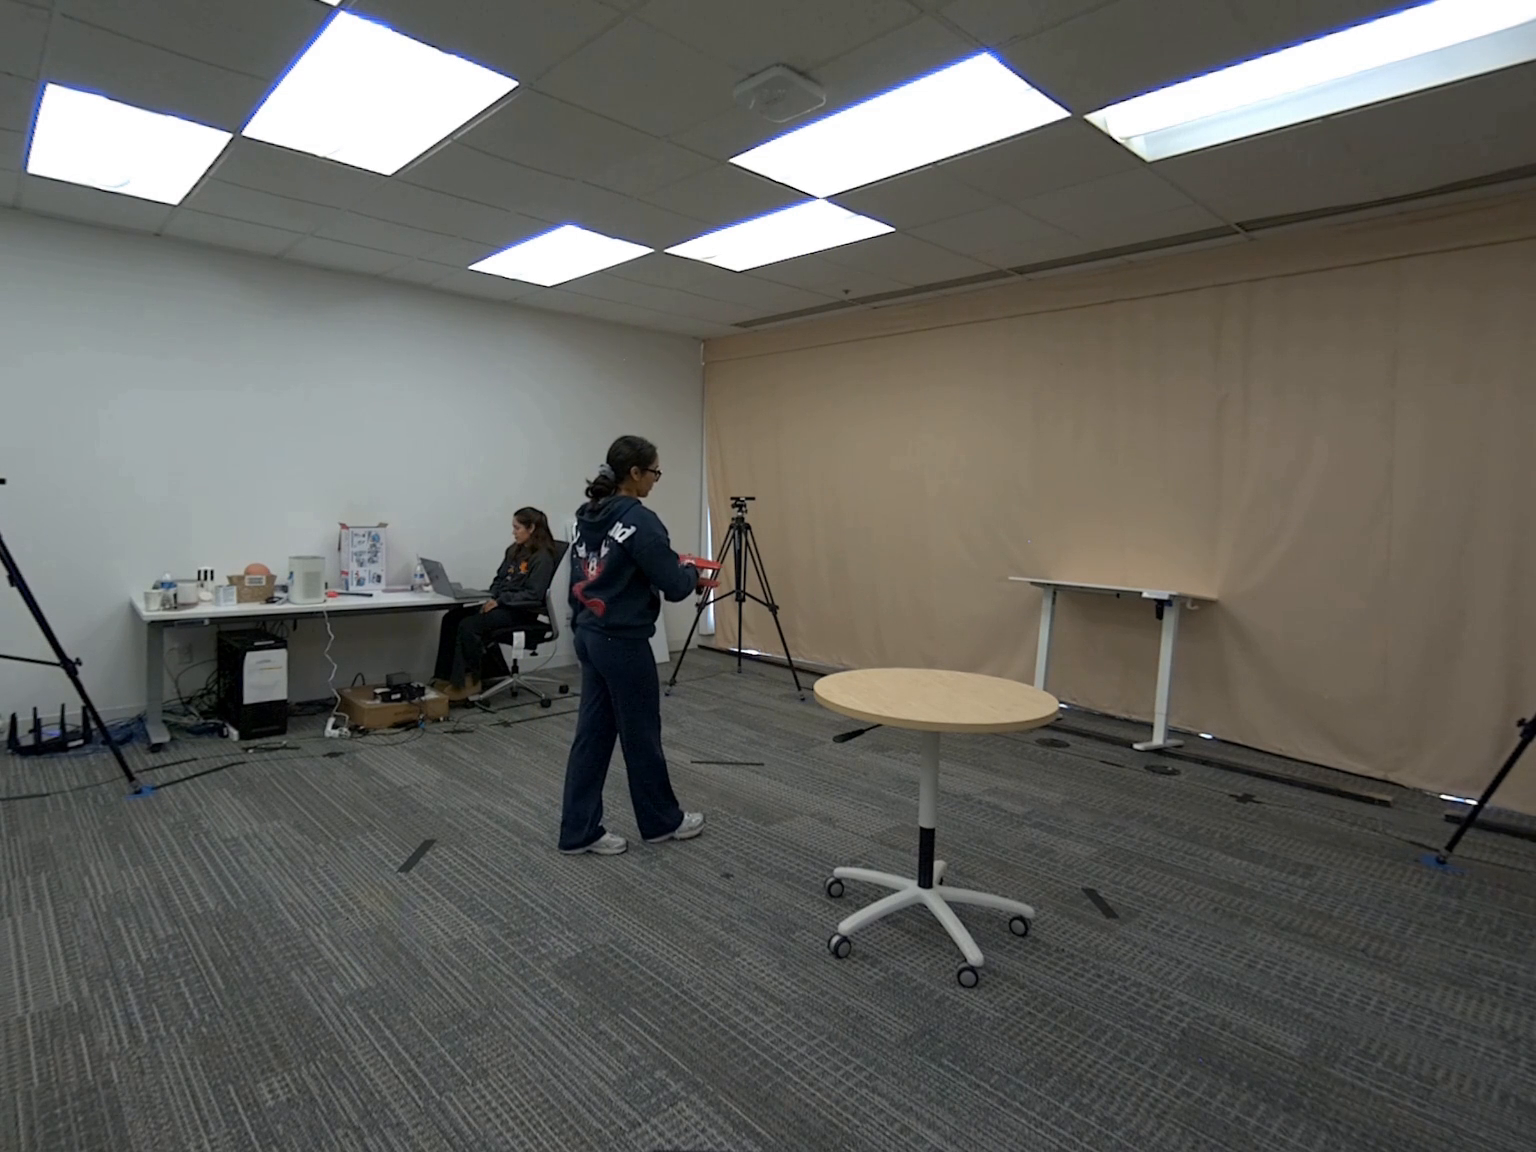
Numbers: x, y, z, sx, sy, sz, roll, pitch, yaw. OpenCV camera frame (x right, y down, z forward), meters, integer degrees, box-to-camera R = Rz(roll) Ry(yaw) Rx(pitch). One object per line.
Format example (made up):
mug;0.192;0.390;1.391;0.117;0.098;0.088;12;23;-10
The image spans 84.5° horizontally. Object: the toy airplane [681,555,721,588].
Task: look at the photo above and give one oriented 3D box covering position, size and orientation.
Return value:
toy airplane;-0.316;-0.003;3.500;0.247;0.156;0.263;12;0;-18
